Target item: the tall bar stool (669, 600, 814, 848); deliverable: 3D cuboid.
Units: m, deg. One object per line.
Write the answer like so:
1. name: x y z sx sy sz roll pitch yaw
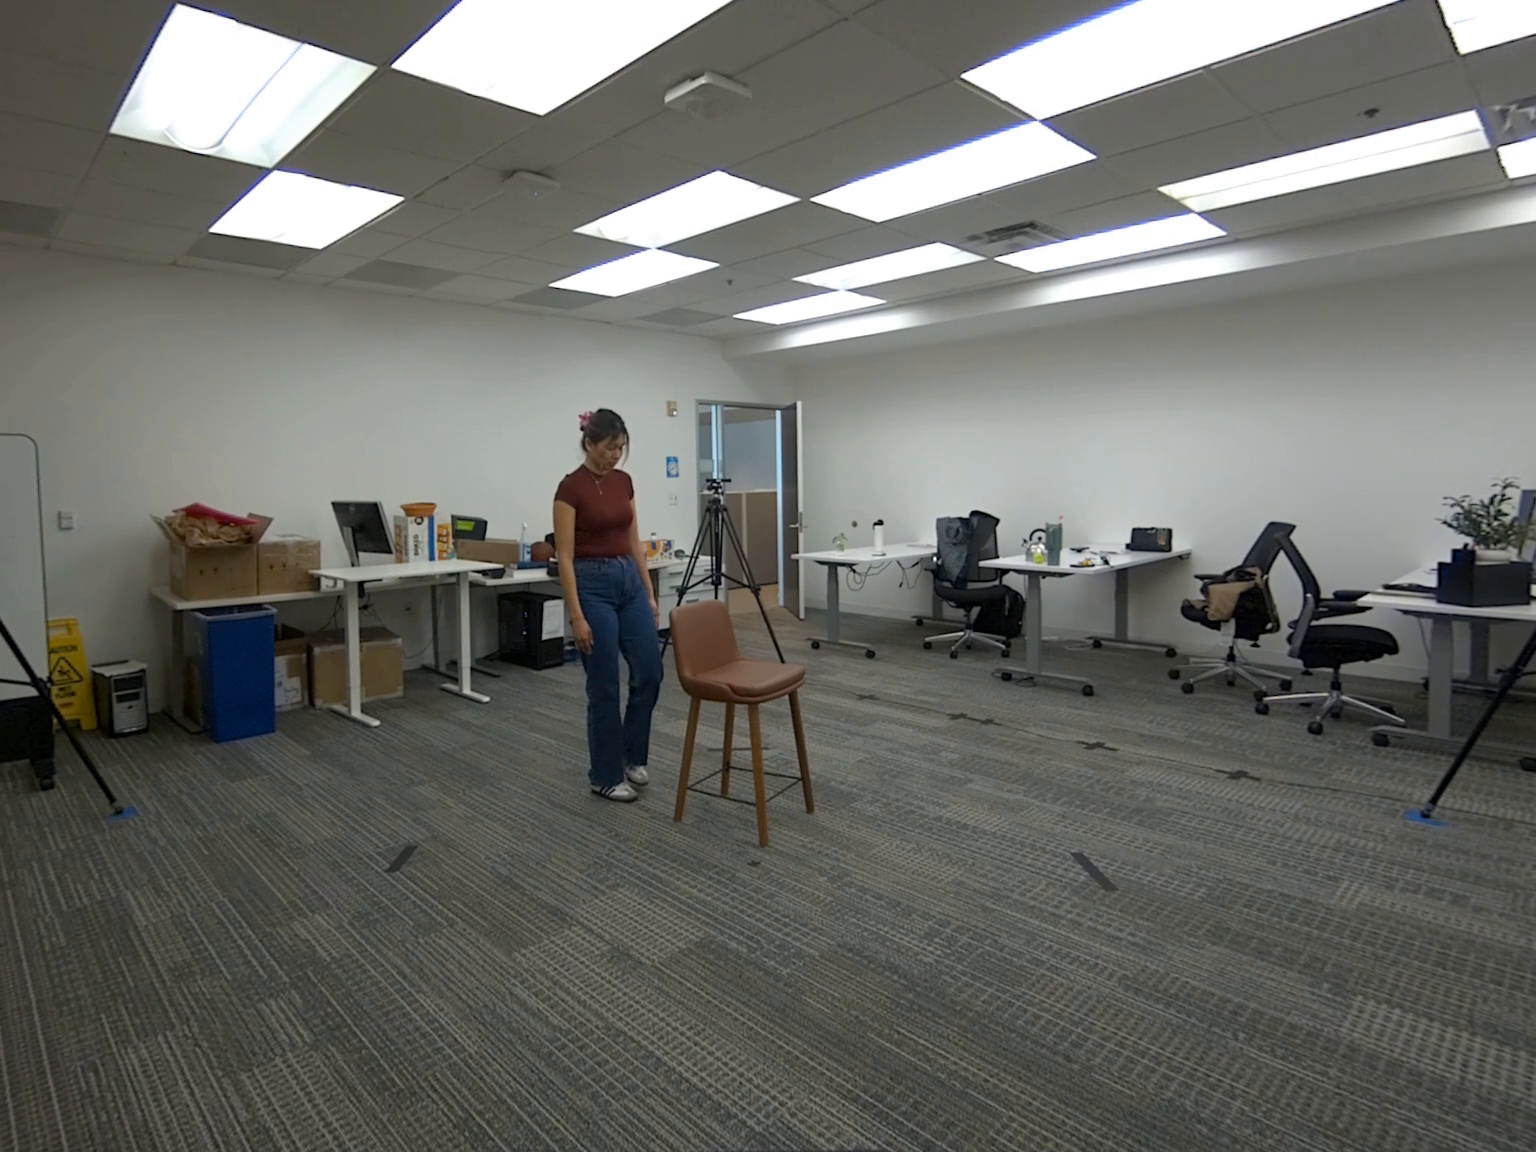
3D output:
1. tall bar stool: -0.117 0.562 3.512 0.480 0.888 0.445 -1 3 33
